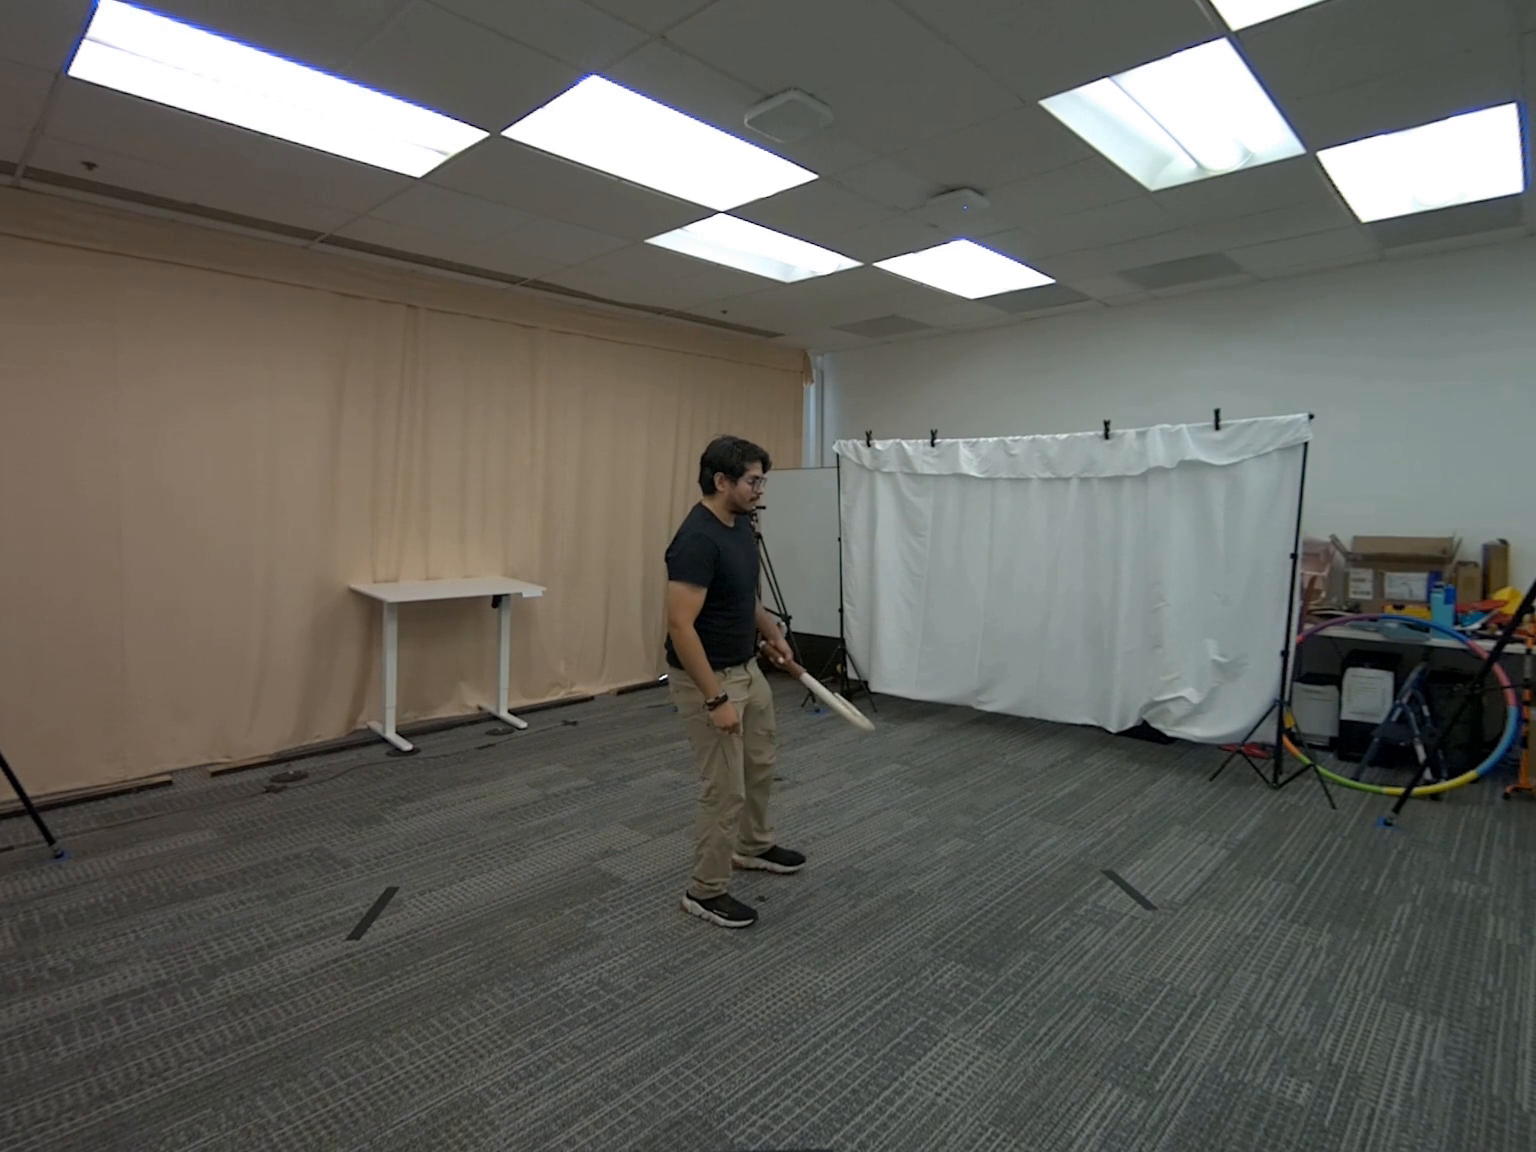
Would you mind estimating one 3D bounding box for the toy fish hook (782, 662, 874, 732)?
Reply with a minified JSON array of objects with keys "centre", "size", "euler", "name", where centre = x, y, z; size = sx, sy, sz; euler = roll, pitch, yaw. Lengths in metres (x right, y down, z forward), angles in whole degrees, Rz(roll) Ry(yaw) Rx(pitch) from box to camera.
[{"centre":[0.177,0.411,3.107],"size":[0.516,0.048,0.220],"euler":[38,0,15],"name":"toy fish hook"}]
